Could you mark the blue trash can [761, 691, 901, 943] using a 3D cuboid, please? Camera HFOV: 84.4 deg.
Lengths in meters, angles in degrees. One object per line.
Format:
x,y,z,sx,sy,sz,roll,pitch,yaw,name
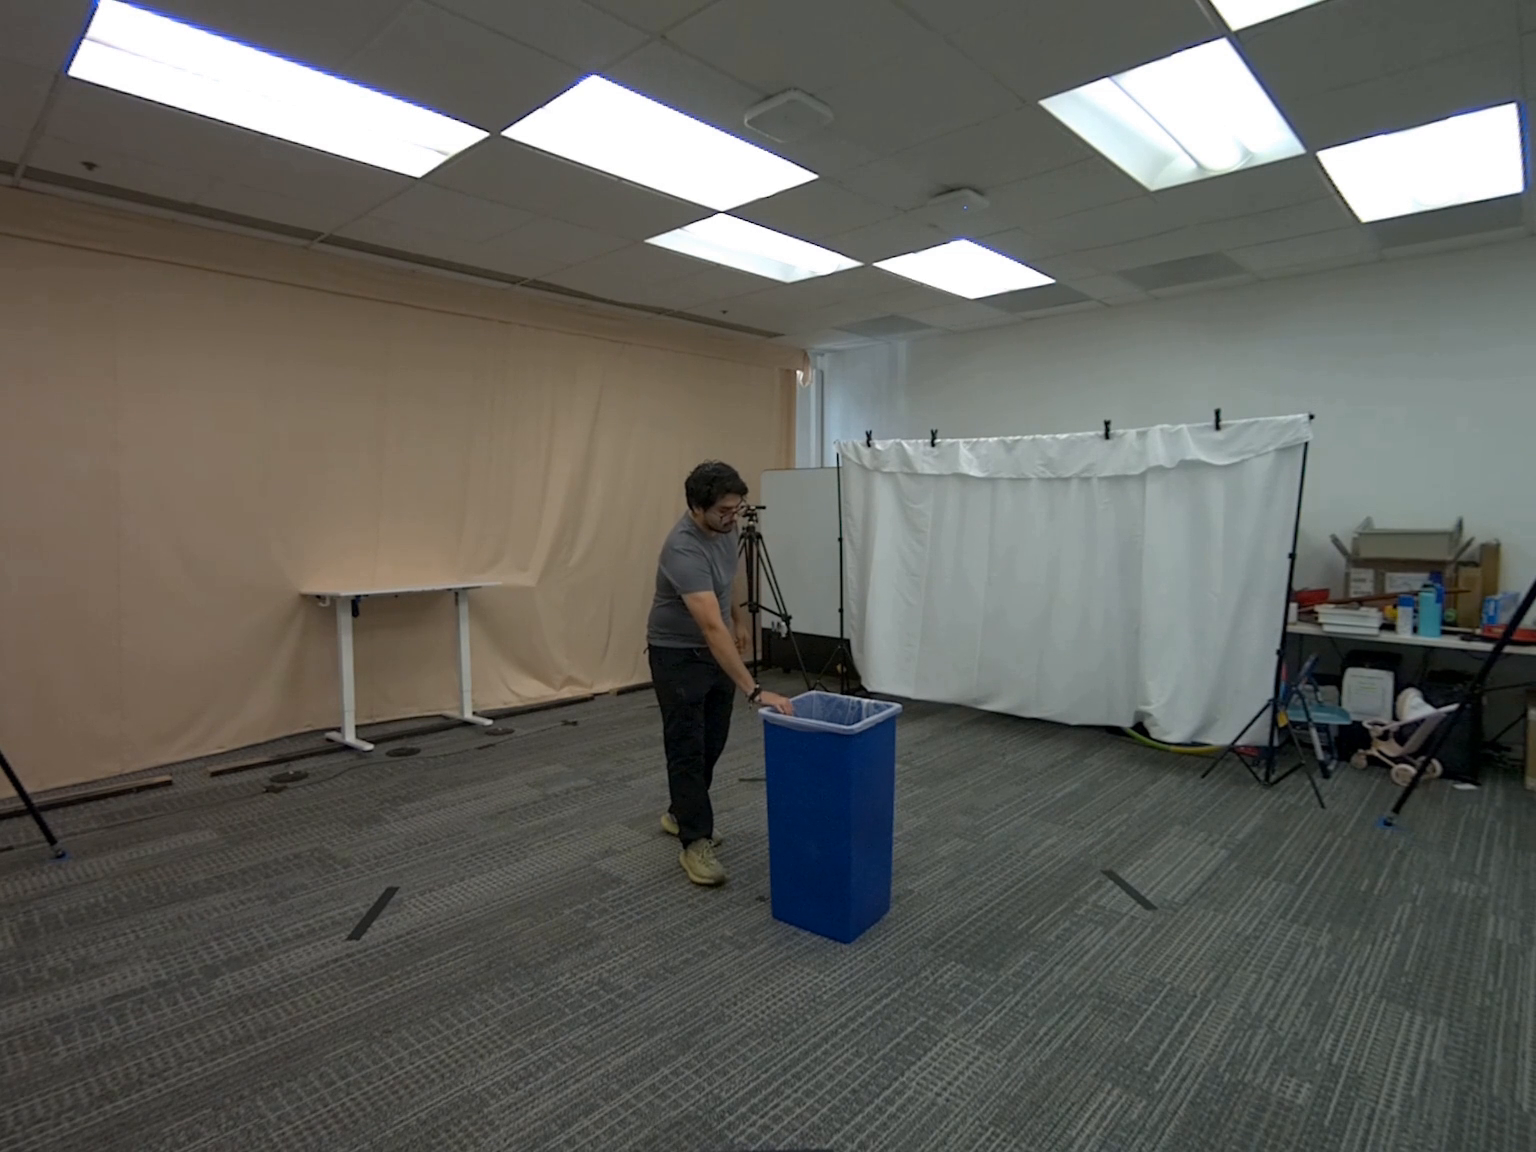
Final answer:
0.215,0.796,2.845,0.390,0.712,0.363,2,4,37,blue trash can
